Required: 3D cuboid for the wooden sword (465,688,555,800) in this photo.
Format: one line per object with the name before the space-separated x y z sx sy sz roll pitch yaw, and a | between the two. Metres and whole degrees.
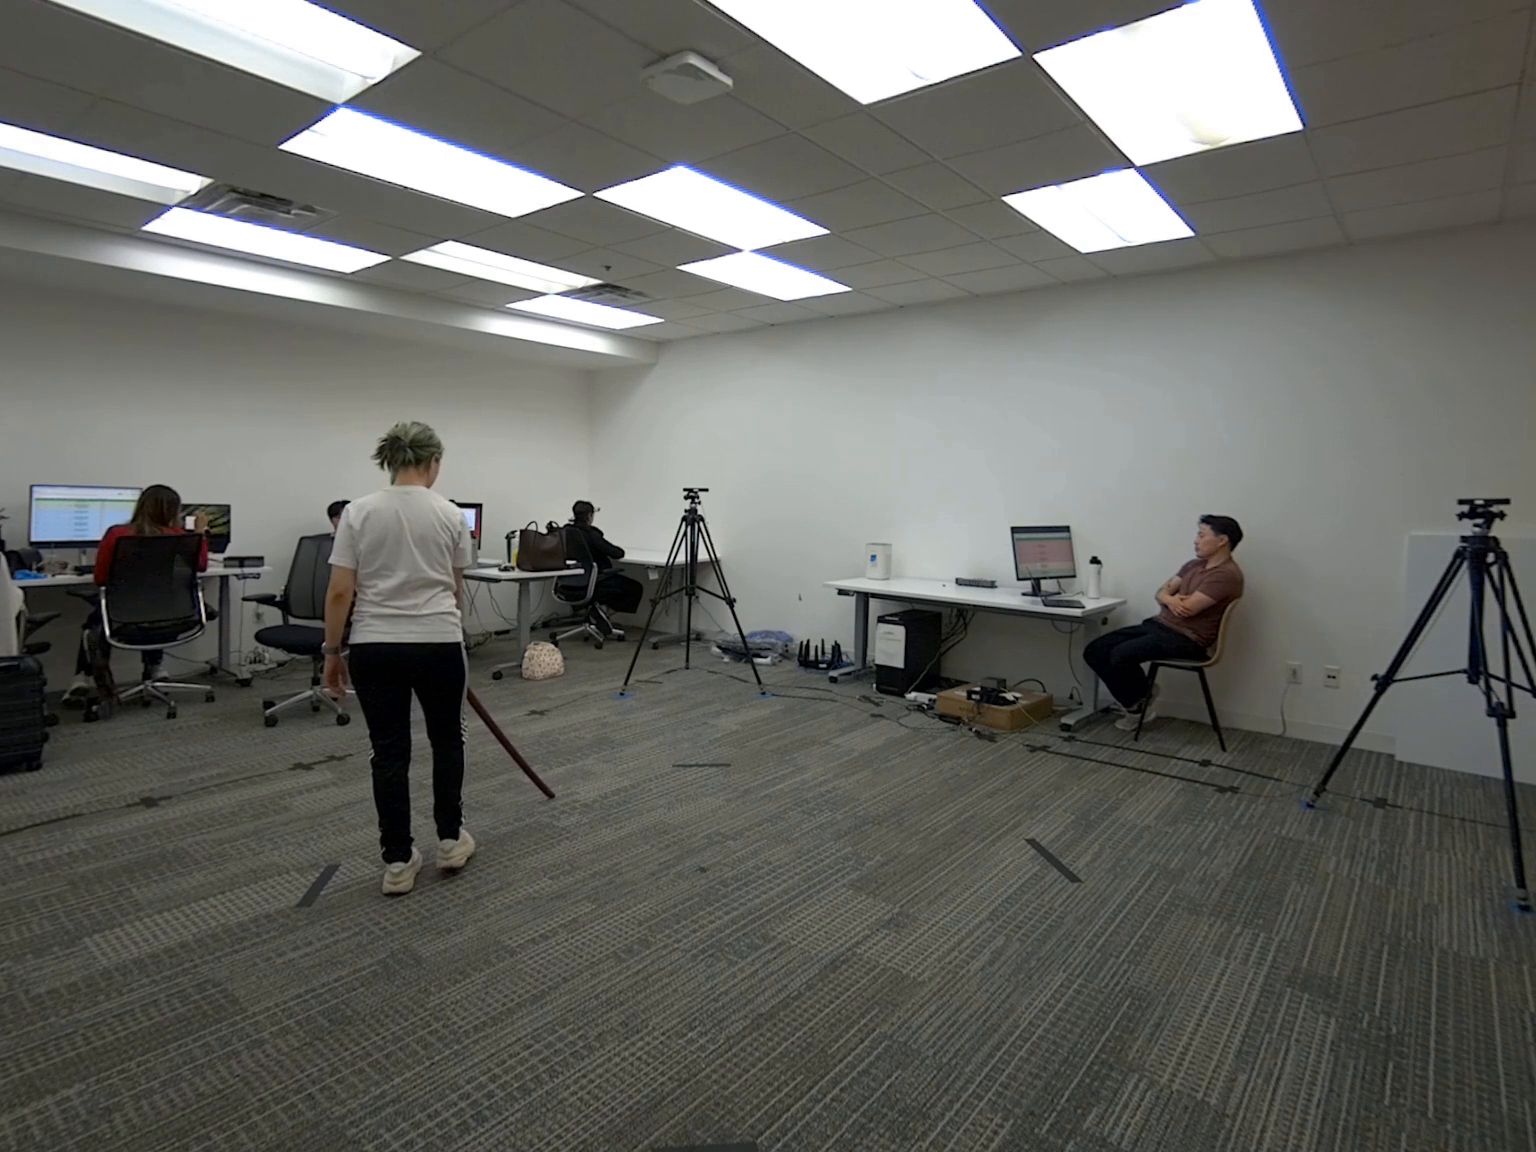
wooden sword | -1.153 0.639 3.501 0.051 0.986 0.025 -30 37 -3
